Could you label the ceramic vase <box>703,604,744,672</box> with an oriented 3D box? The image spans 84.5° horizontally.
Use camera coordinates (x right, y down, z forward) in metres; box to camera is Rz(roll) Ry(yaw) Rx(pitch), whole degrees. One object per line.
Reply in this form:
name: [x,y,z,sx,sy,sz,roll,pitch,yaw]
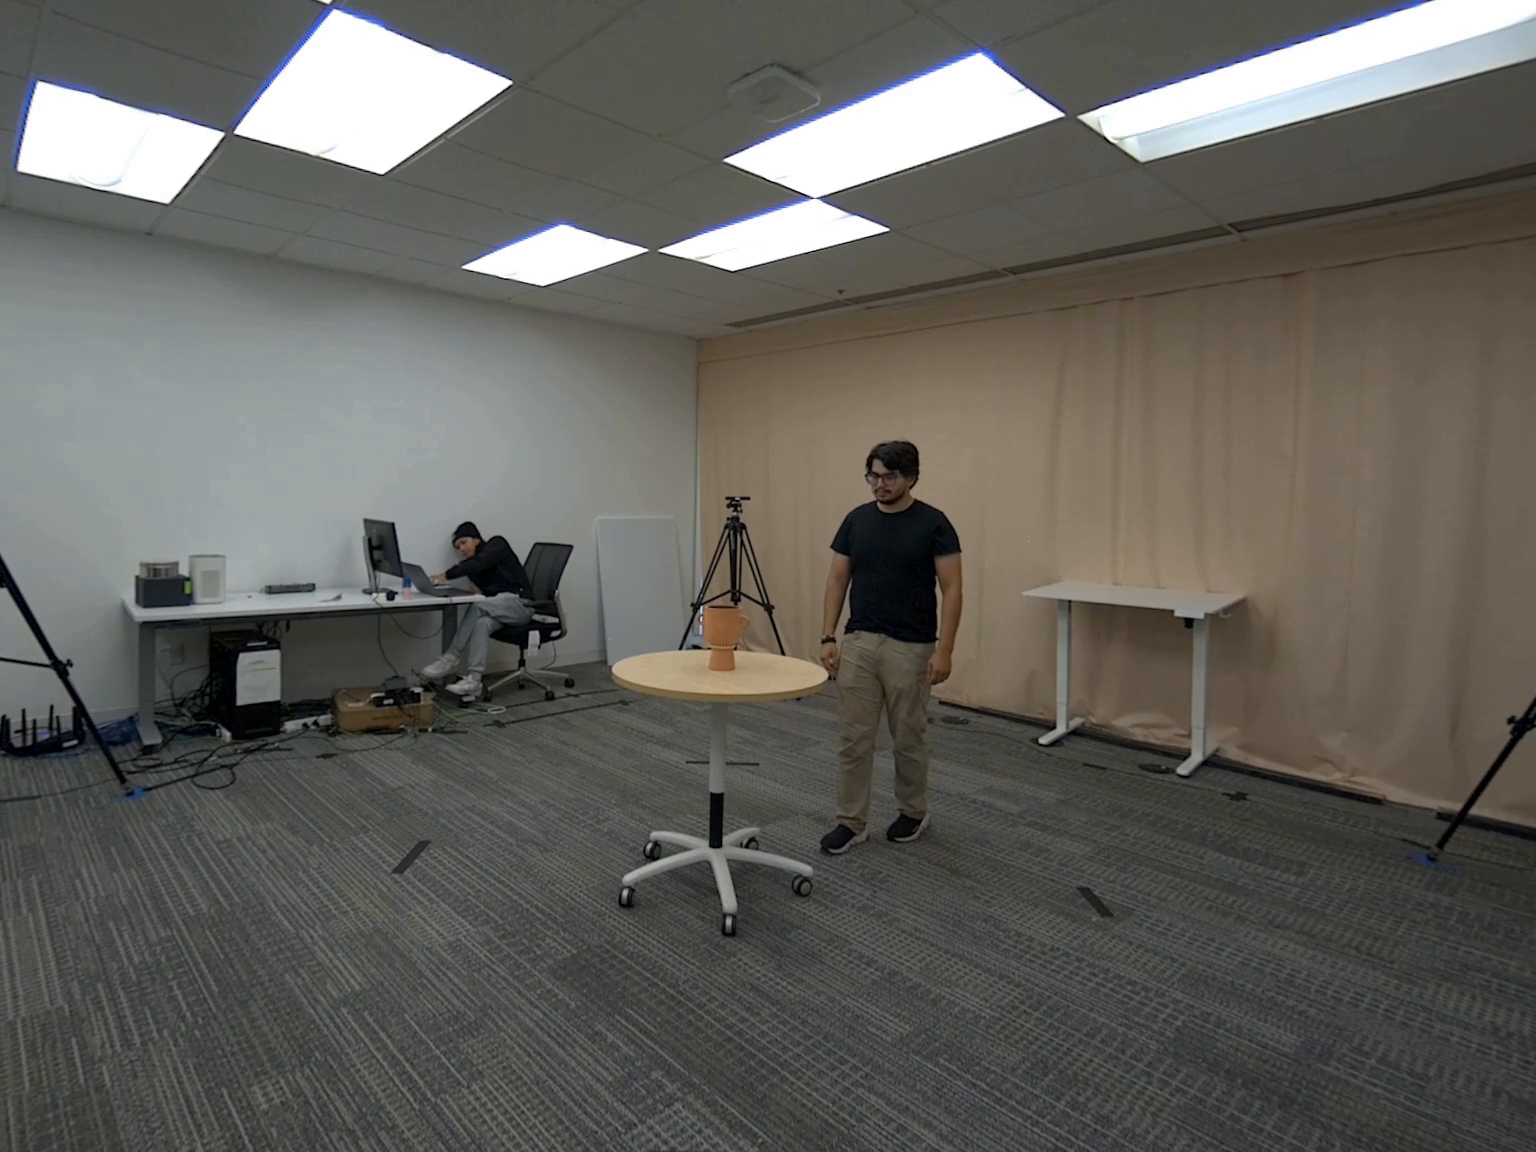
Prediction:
ceramic vase: [-0.168,0.222,3.004,0.132,0.219,0.162,-1,4,-34]
